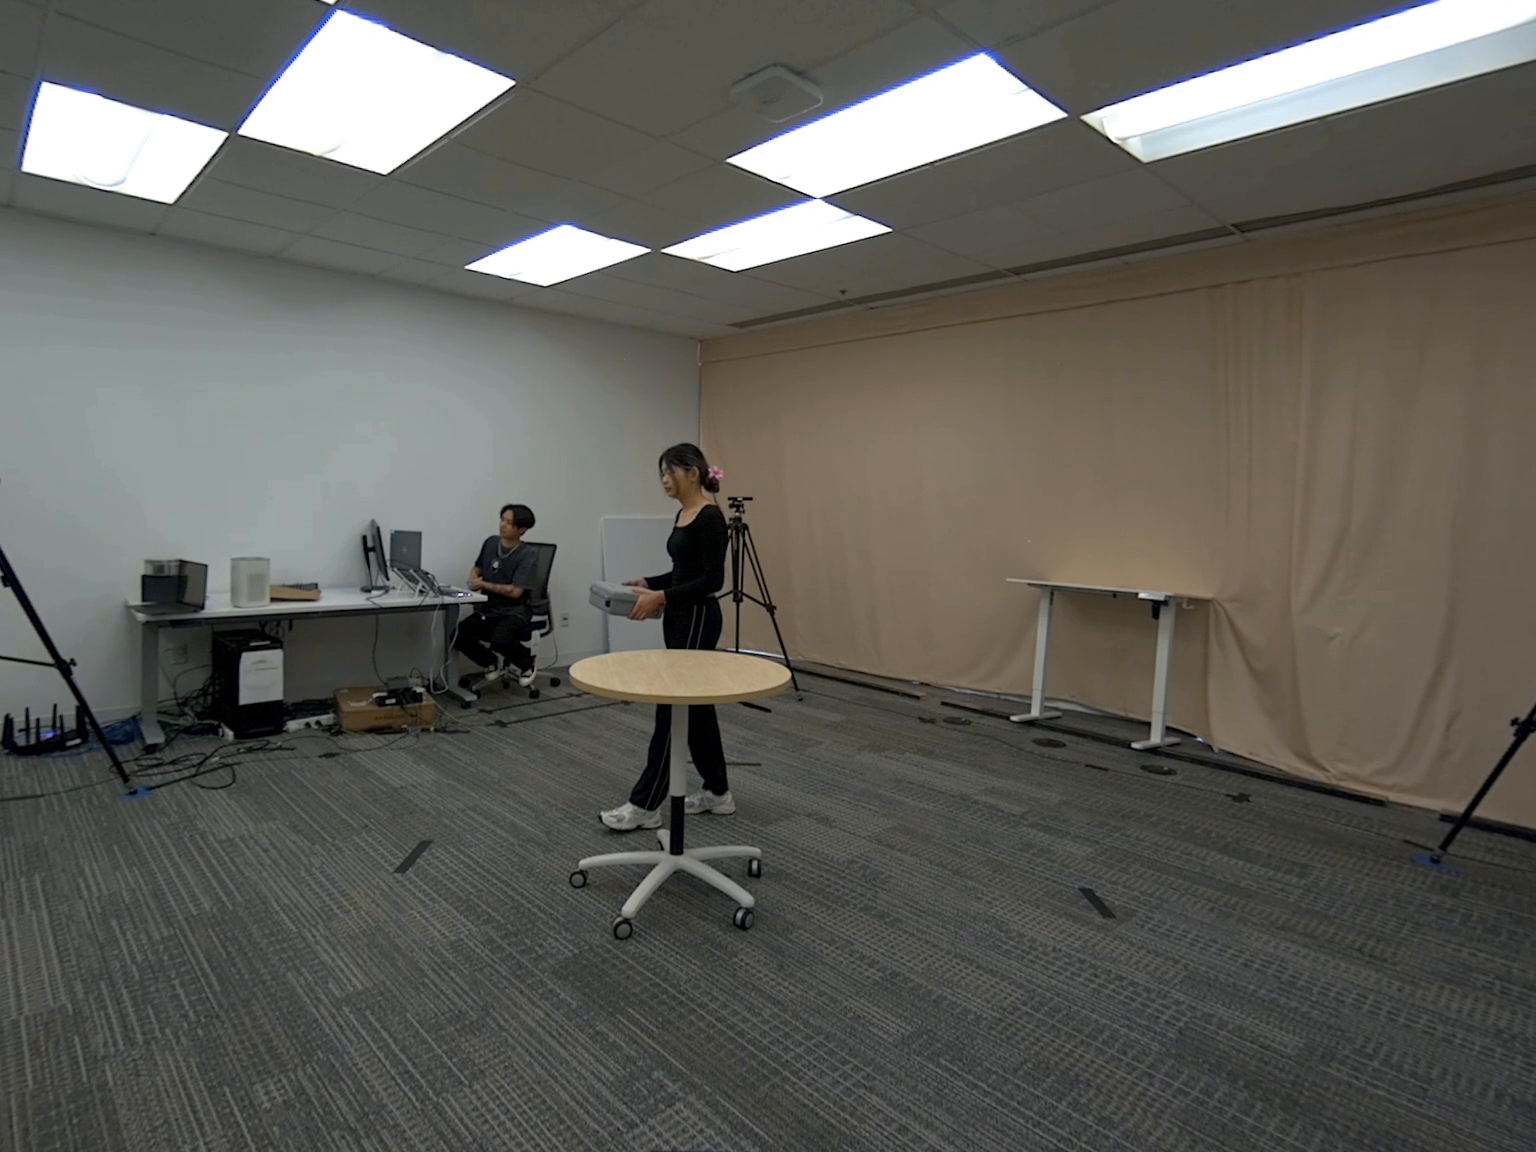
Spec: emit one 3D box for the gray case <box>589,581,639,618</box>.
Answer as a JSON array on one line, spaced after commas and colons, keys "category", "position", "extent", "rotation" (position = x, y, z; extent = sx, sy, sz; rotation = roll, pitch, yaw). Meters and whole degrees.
[{"category": "gray case", "position": [-0.593, 0.099, 3.531], "extent": [0.255, 0.104, 0.263], "rotation": [7, 4, -30]}]
